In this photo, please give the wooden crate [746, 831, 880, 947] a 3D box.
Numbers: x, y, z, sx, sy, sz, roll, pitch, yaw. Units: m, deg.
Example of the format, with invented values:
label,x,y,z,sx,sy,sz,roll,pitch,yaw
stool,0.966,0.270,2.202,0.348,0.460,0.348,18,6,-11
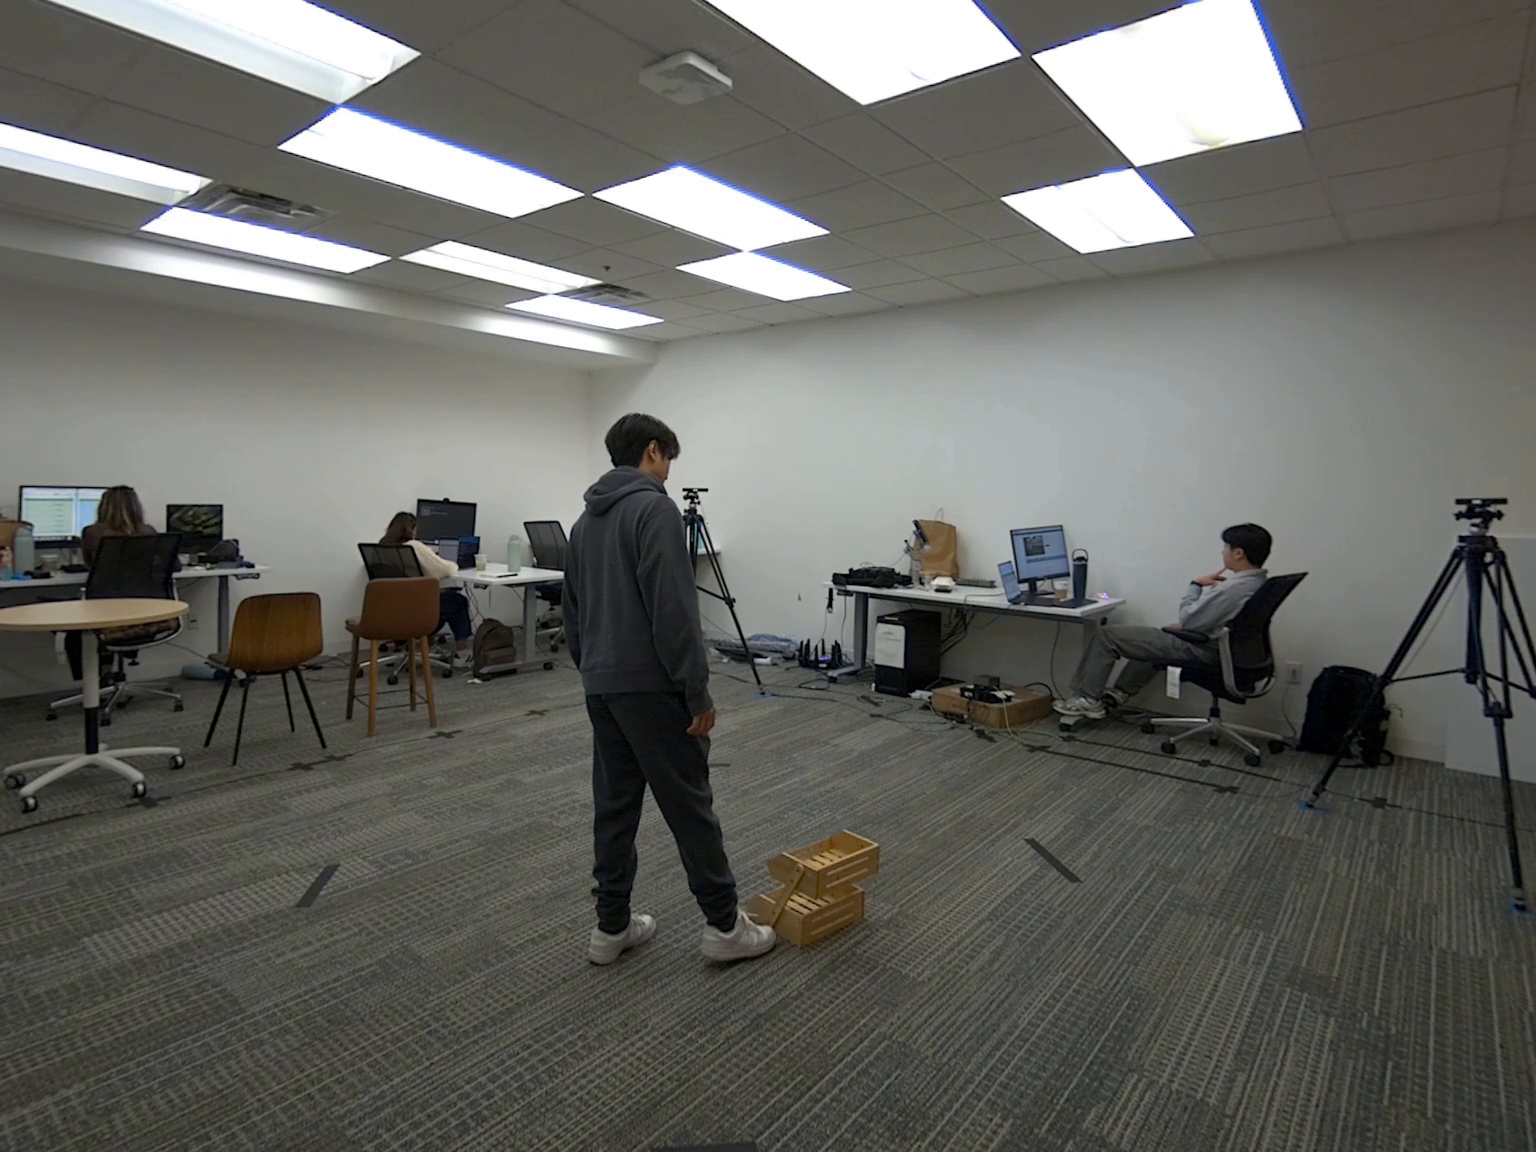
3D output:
label,x,y,z,sx,sy,sz,roll,pitch,yaw
wooden crate,0.134,0.976,2.753,0.314,0.272,0.313,-3,7,-43
